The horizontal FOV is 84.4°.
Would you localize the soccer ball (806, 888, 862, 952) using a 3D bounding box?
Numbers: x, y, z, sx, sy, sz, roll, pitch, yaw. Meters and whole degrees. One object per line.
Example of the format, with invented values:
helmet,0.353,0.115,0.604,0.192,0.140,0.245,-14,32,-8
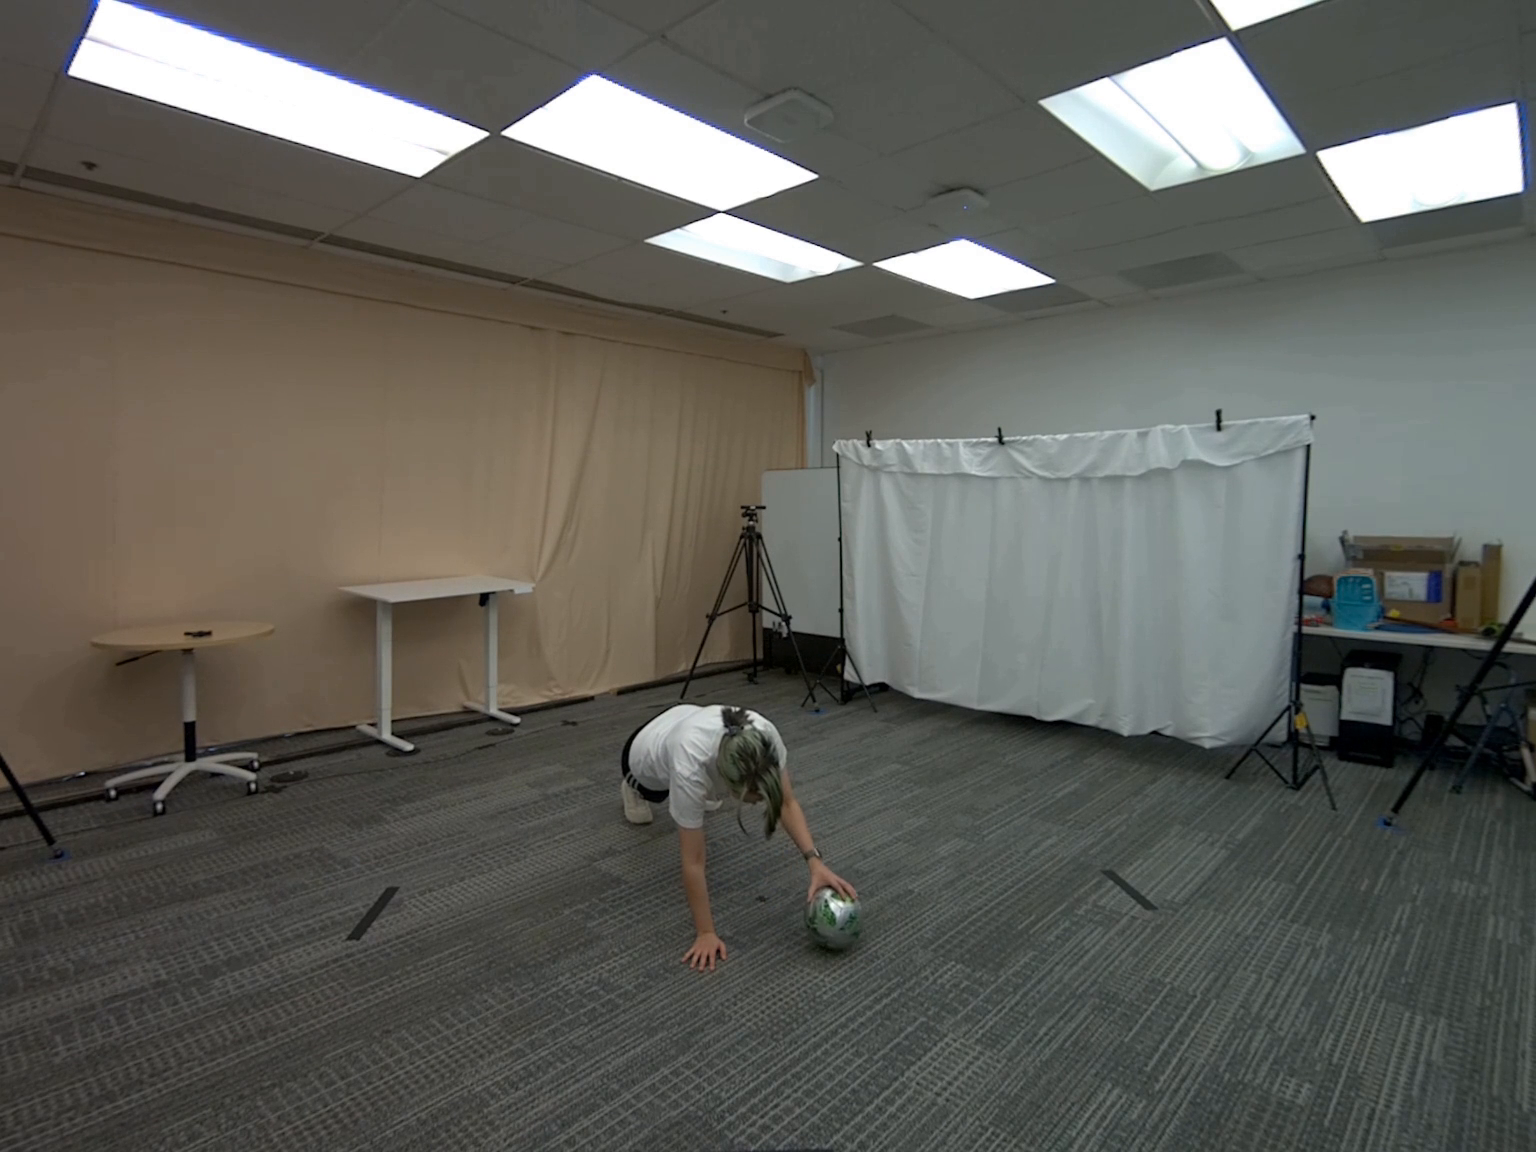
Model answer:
soccer ball,0.200,1.073,2.640,0.187,0.187,0.188,0,4,-2
